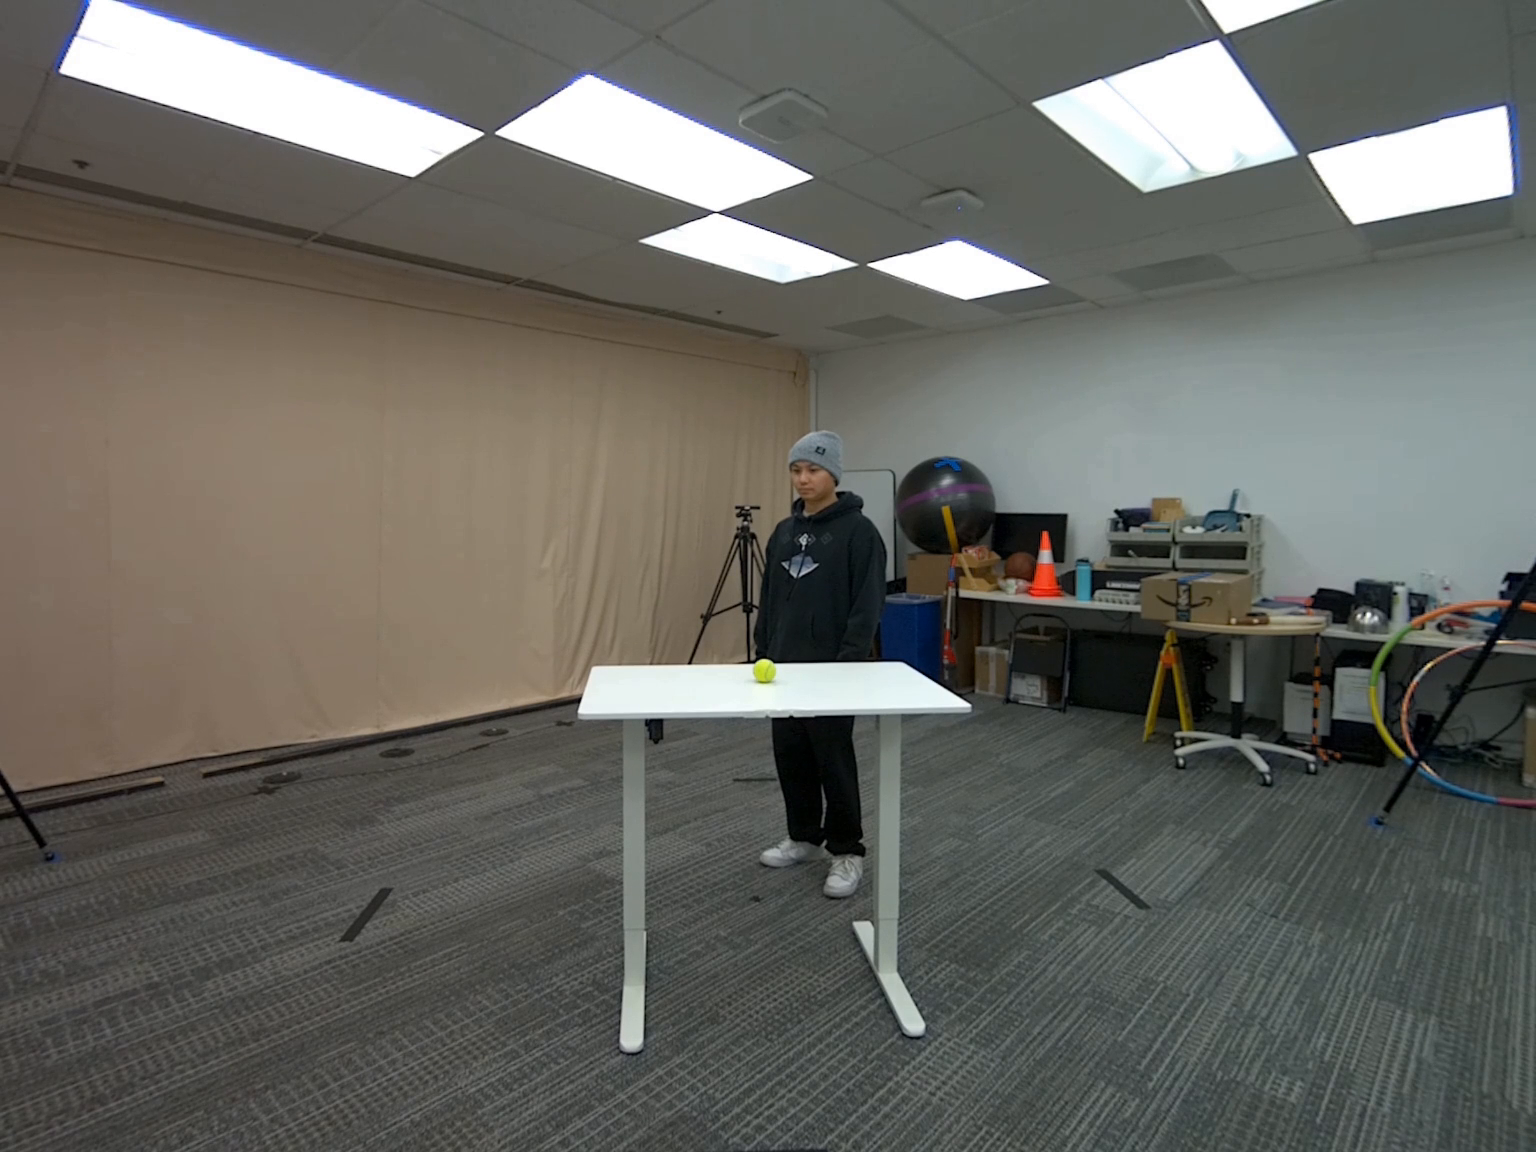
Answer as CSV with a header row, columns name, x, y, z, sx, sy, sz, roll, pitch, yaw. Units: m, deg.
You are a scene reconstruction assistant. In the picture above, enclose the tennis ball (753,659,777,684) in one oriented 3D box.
name,x,y,z,sx,sy,sz,roll,pitch,yaw
tennis ball,-0.003,0.275,2.445,0.066,0.066,0.067,0,4,-2
